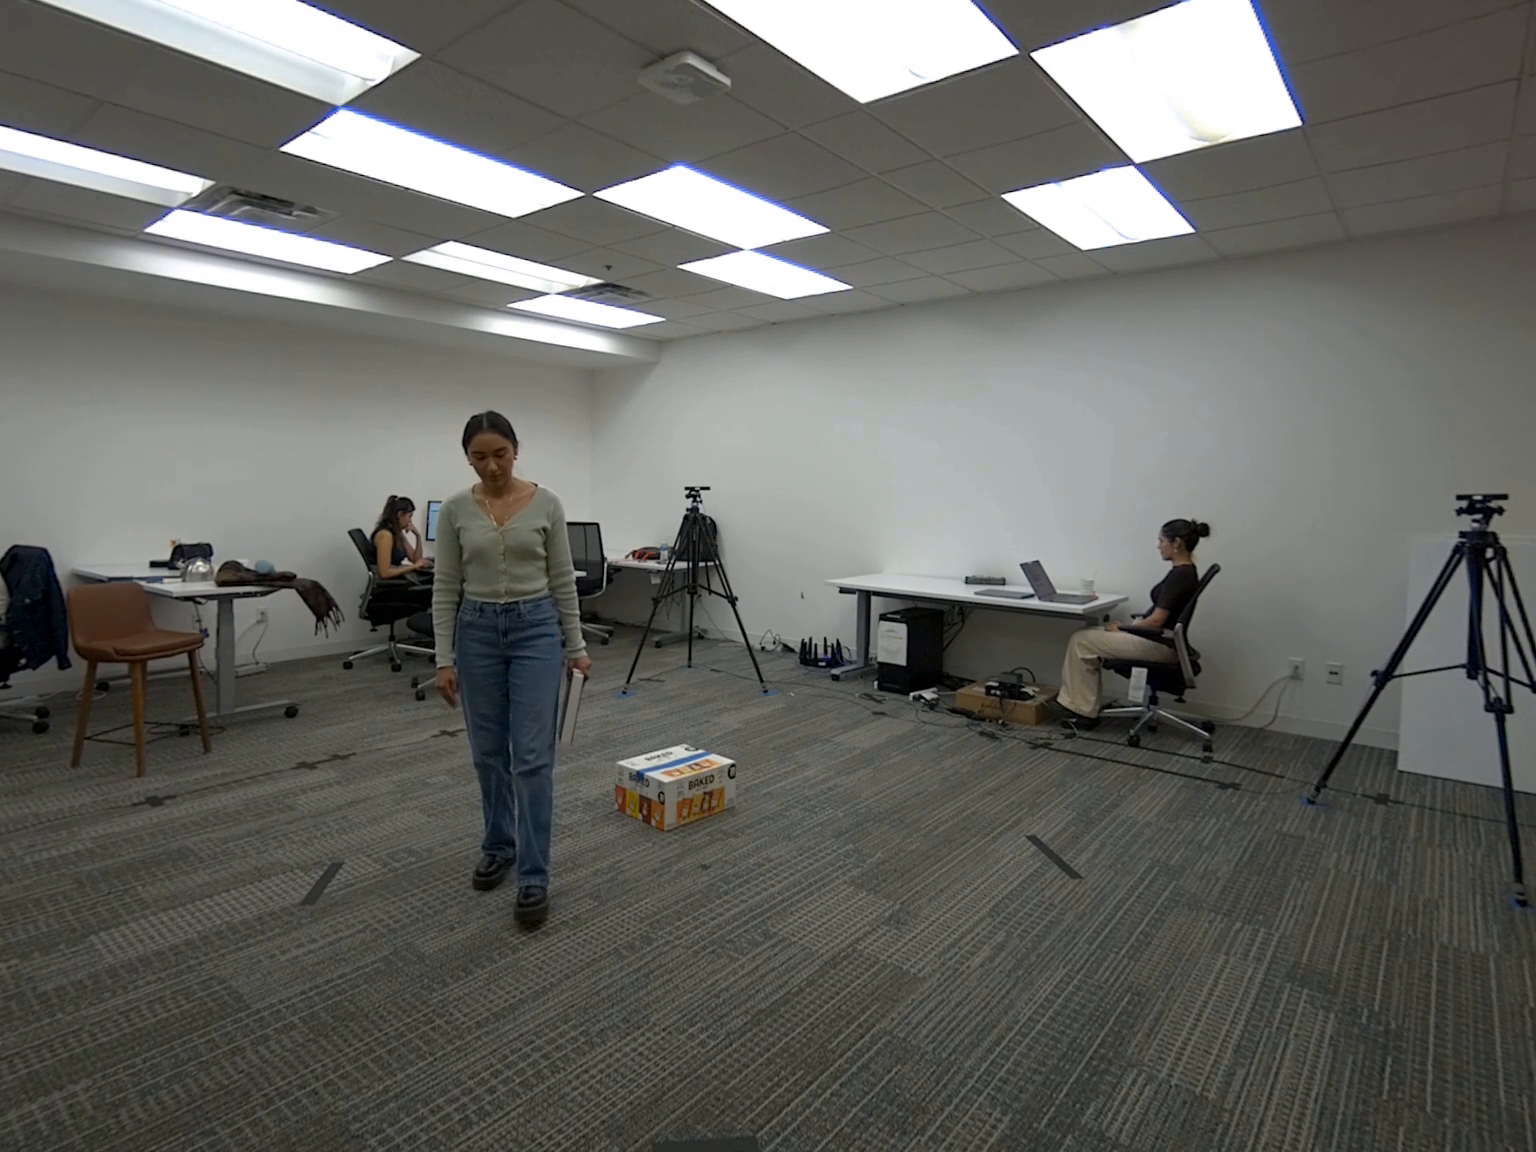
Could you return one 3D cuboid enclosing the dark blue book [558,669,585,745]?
[{"bbox_3d":[-0.712,0.459,2.979,0.044,0.245,0.167,6,-1,-21],"label":"dark blue book"}]
